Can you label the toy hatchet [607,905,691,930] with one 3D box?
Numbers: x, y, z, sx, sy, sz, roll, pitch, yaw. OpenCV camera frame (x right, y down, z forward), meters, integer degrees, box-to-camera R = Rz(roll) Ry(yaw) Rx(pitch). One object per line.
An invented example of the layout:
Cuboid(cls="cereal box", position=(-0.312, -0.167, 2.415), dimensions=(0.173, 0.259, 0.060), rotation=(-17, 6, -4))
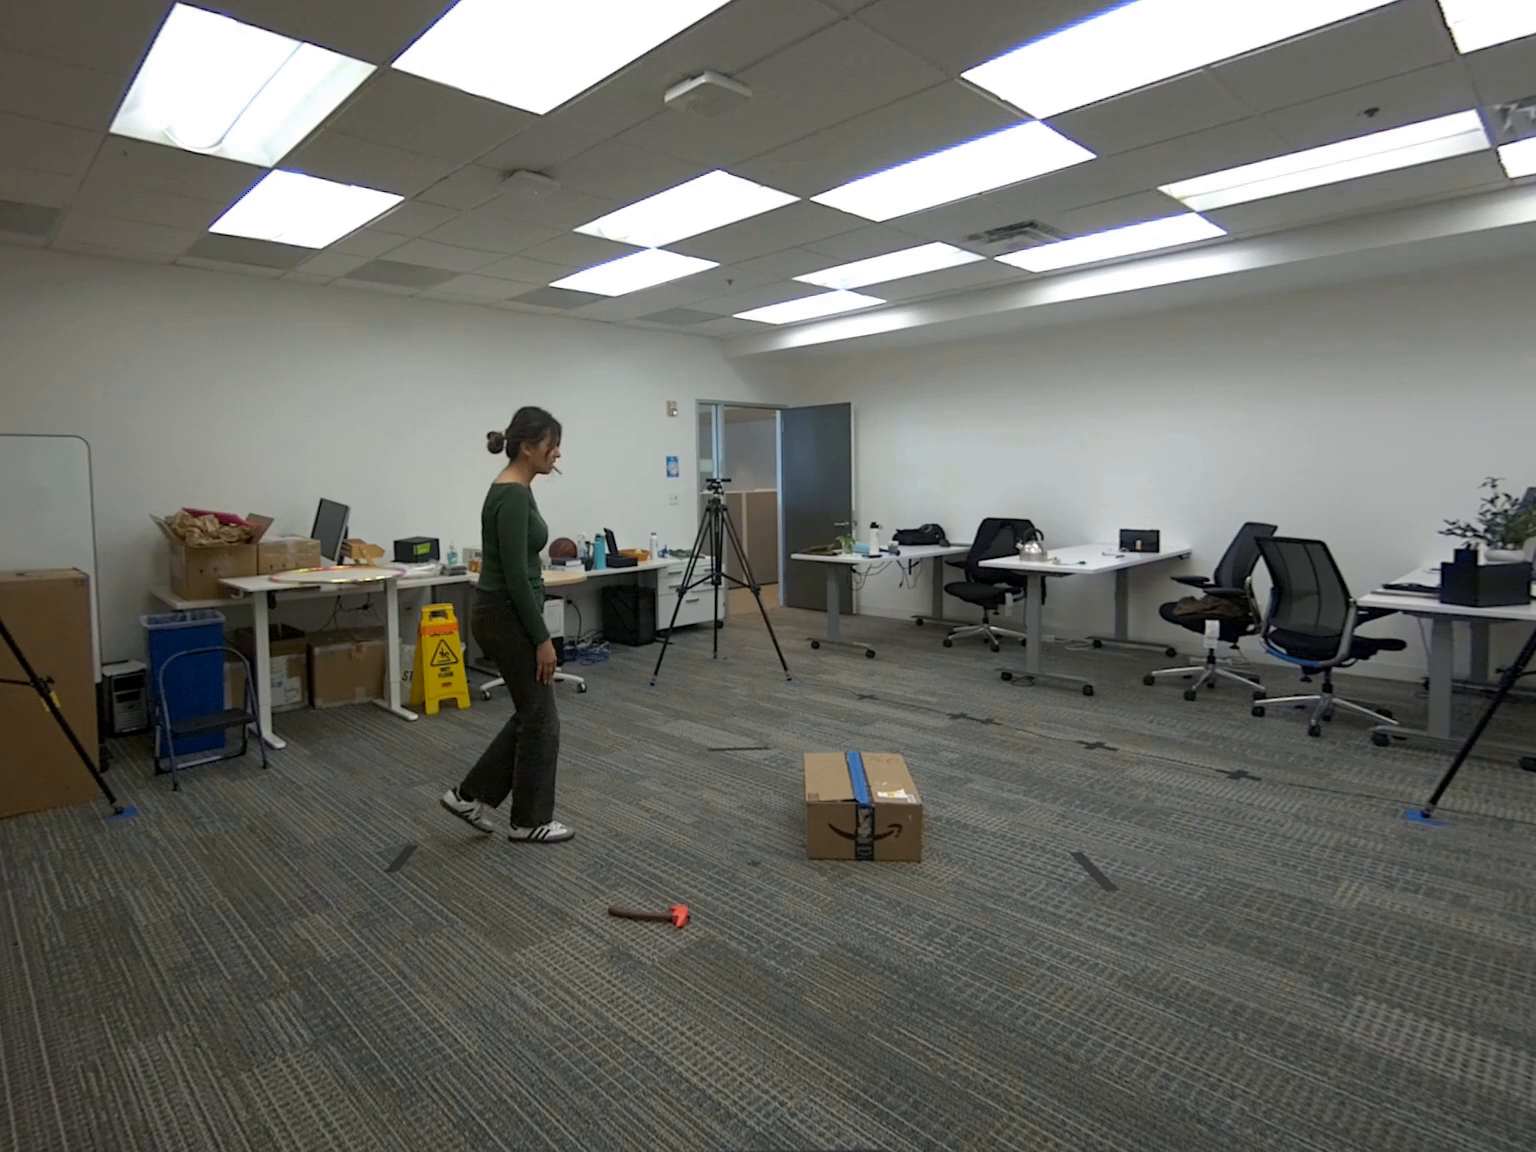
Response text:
Cuboid(cls="toy hatchet", position=(-0.366, 1.080, 2.751), dimensions=(0.276, 0.029, 0.129), rotation=(1, 7, 25))
